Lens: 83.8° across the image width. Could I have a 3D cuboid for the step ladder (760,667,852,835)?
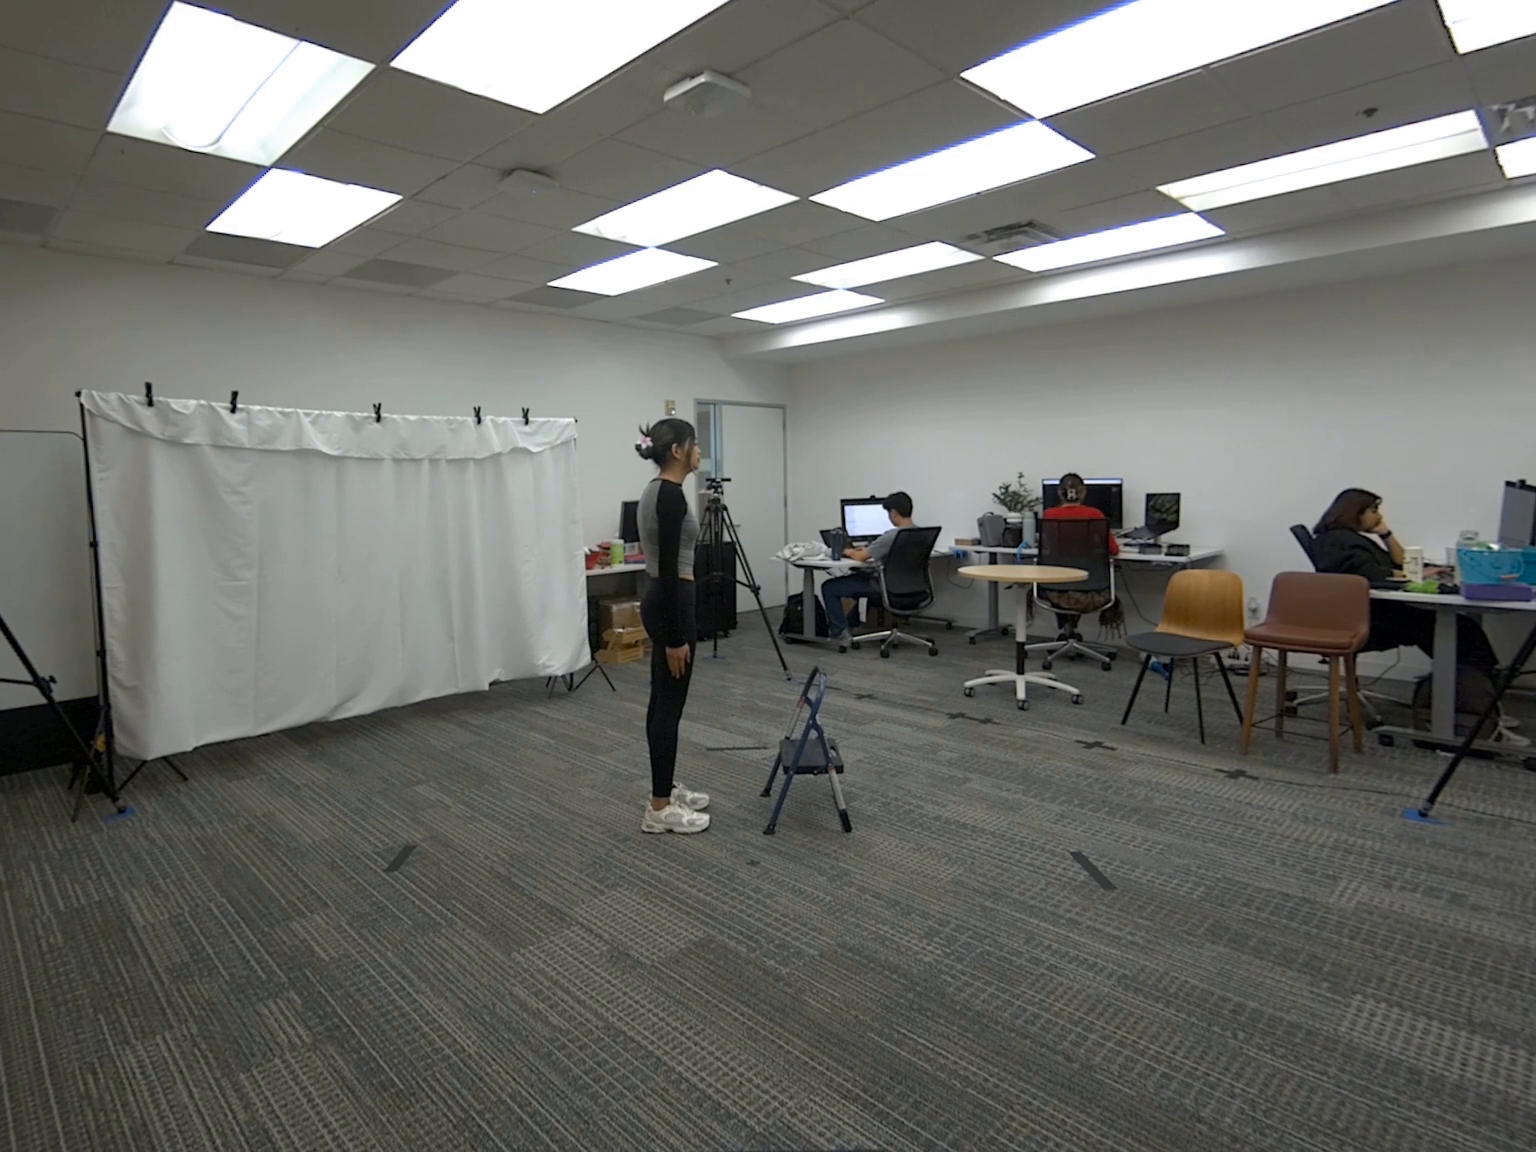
[{"bbox_3d":[0.149,0.688,3.538,0.349,0.604,0.432,-1,4,-1],"label":"step ladder"}]
